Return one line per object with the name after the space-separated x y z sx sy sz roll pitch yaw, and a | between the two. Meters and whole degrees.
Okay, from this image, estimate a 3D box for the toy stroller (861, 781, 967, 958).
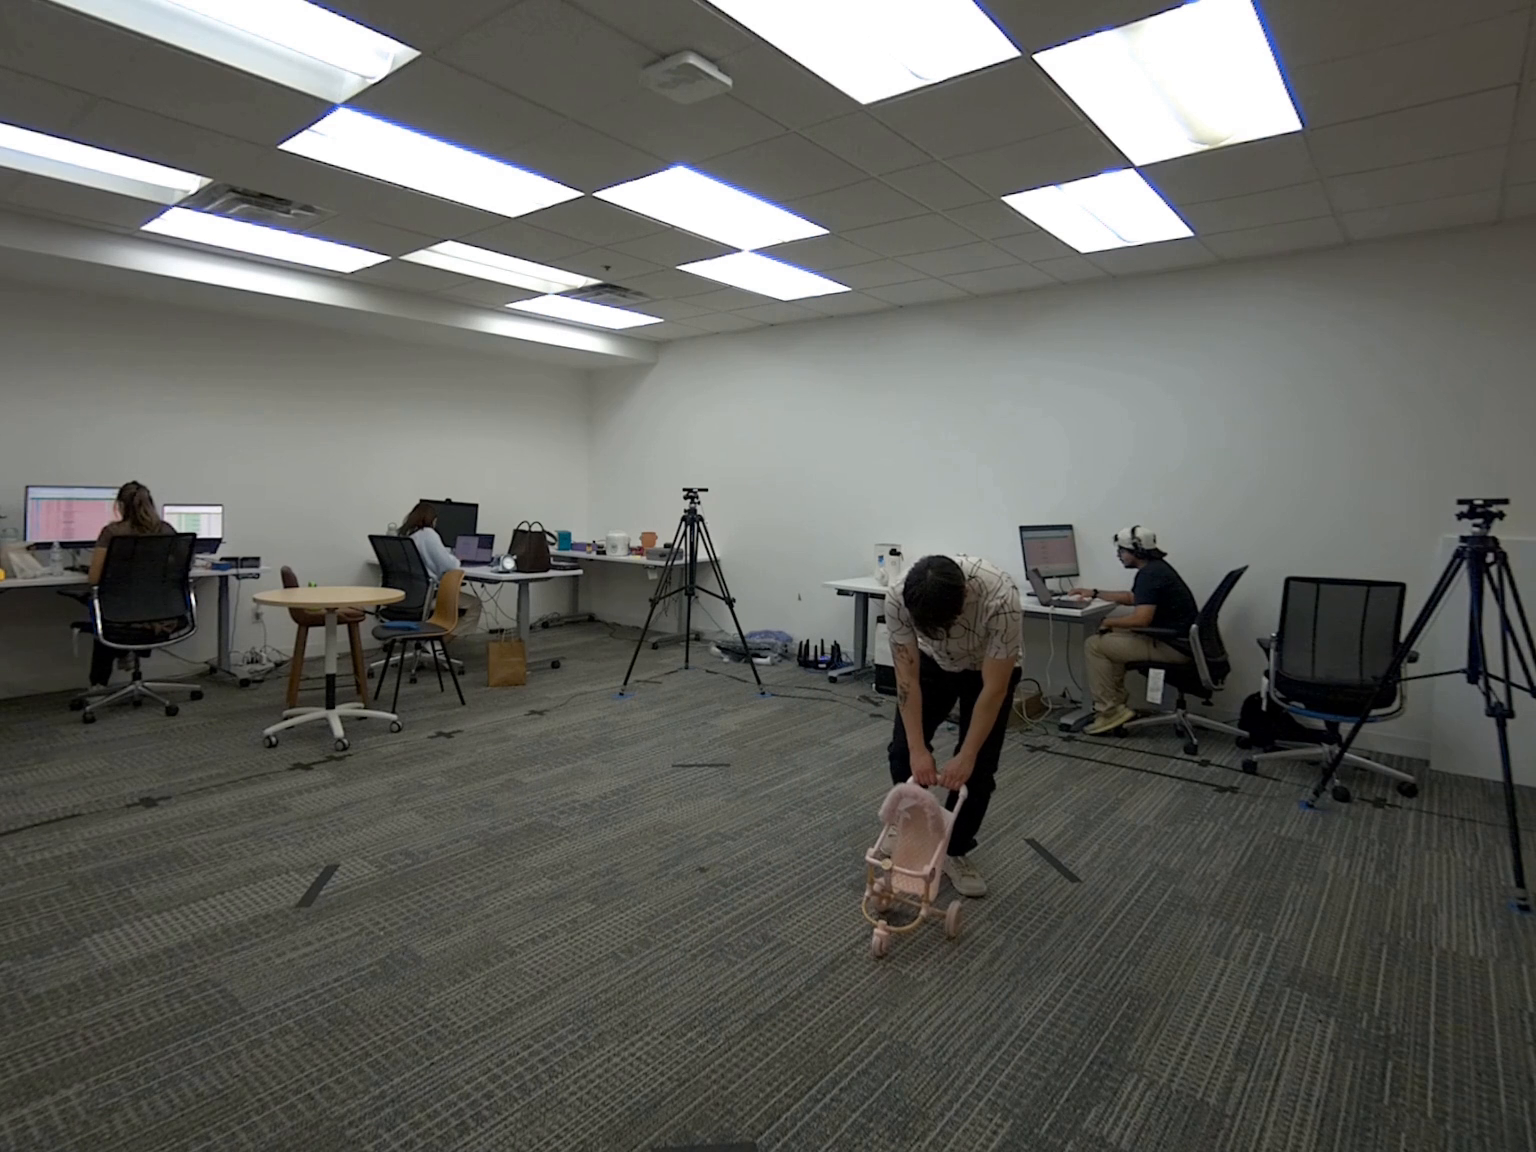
0.441 0.897 2.690 0.291 0.538 0.328 4 -10 40 | toy stroller
